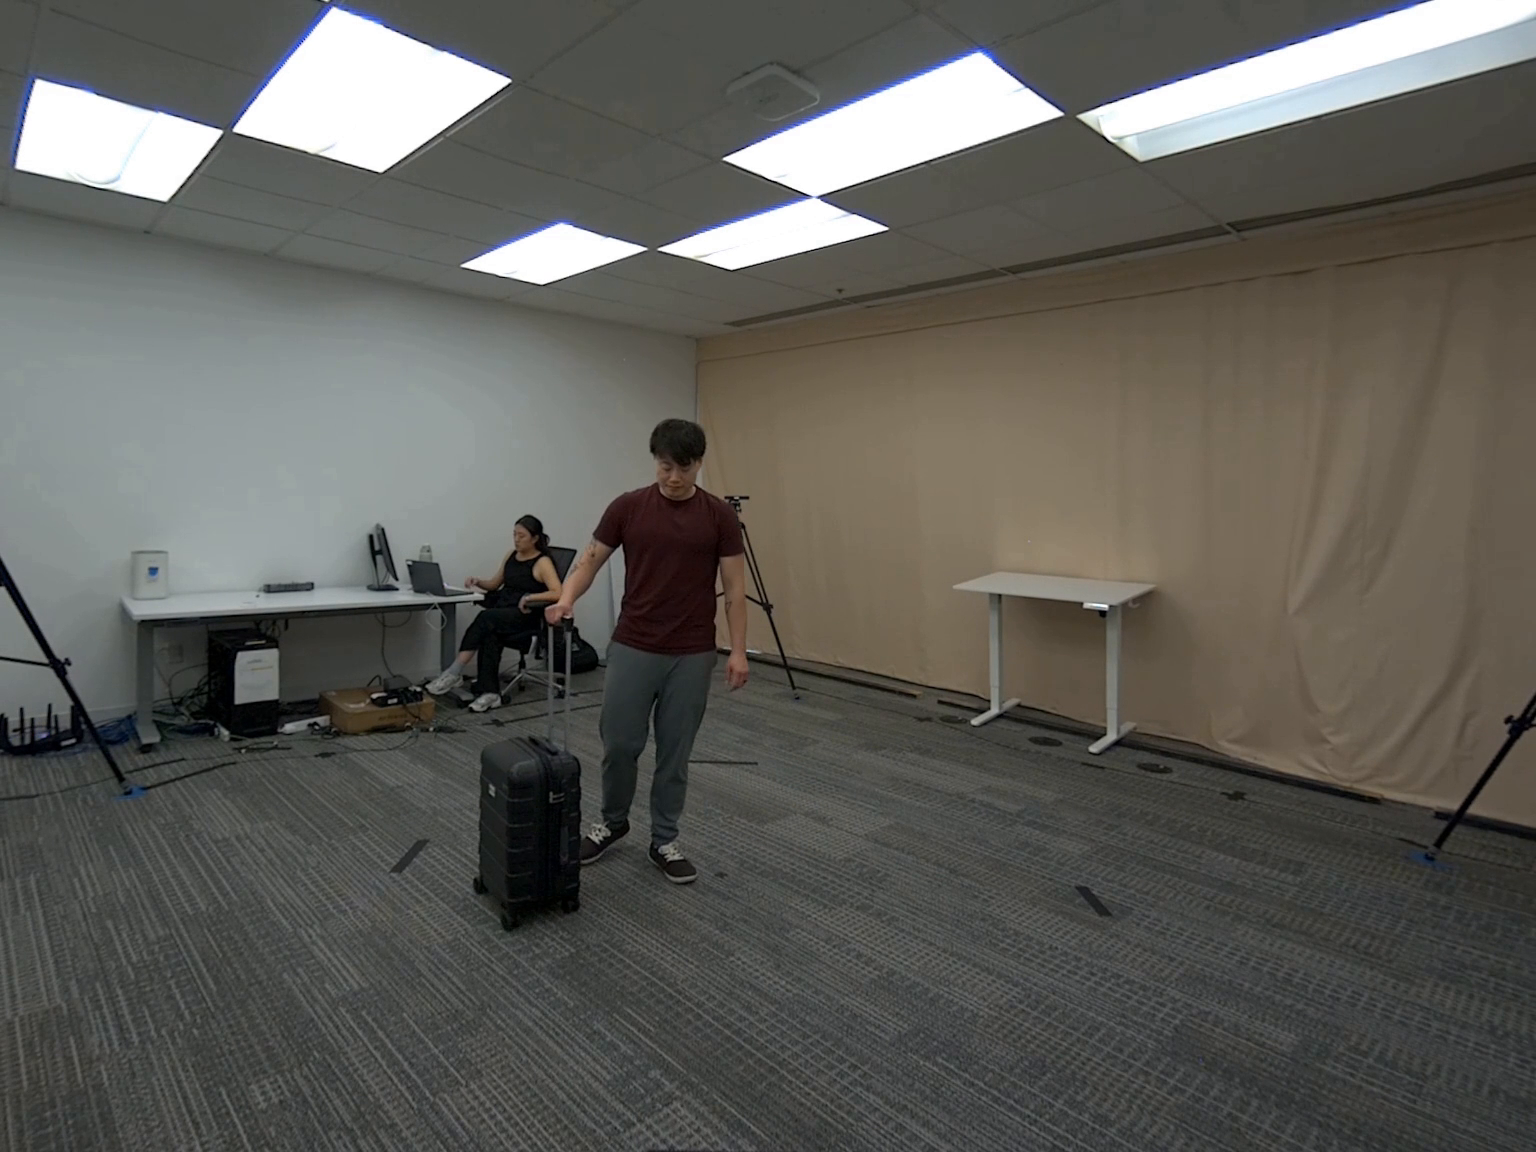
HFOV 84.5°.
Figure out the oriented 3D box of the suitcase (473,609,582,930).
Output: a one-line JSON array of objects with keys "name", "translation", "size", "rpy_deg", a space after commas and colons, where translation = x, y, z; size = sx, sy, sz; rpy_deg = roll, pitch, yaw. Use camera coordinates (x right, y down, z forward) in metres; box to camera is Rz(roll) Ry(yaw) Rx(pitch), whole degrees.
[{"name": "suitcase", "translation": [-0.817, 0.642, 2.819], "size": [0.251, 0.975, 0.394], "rpy_deg": [-3, 6, -35]}]
